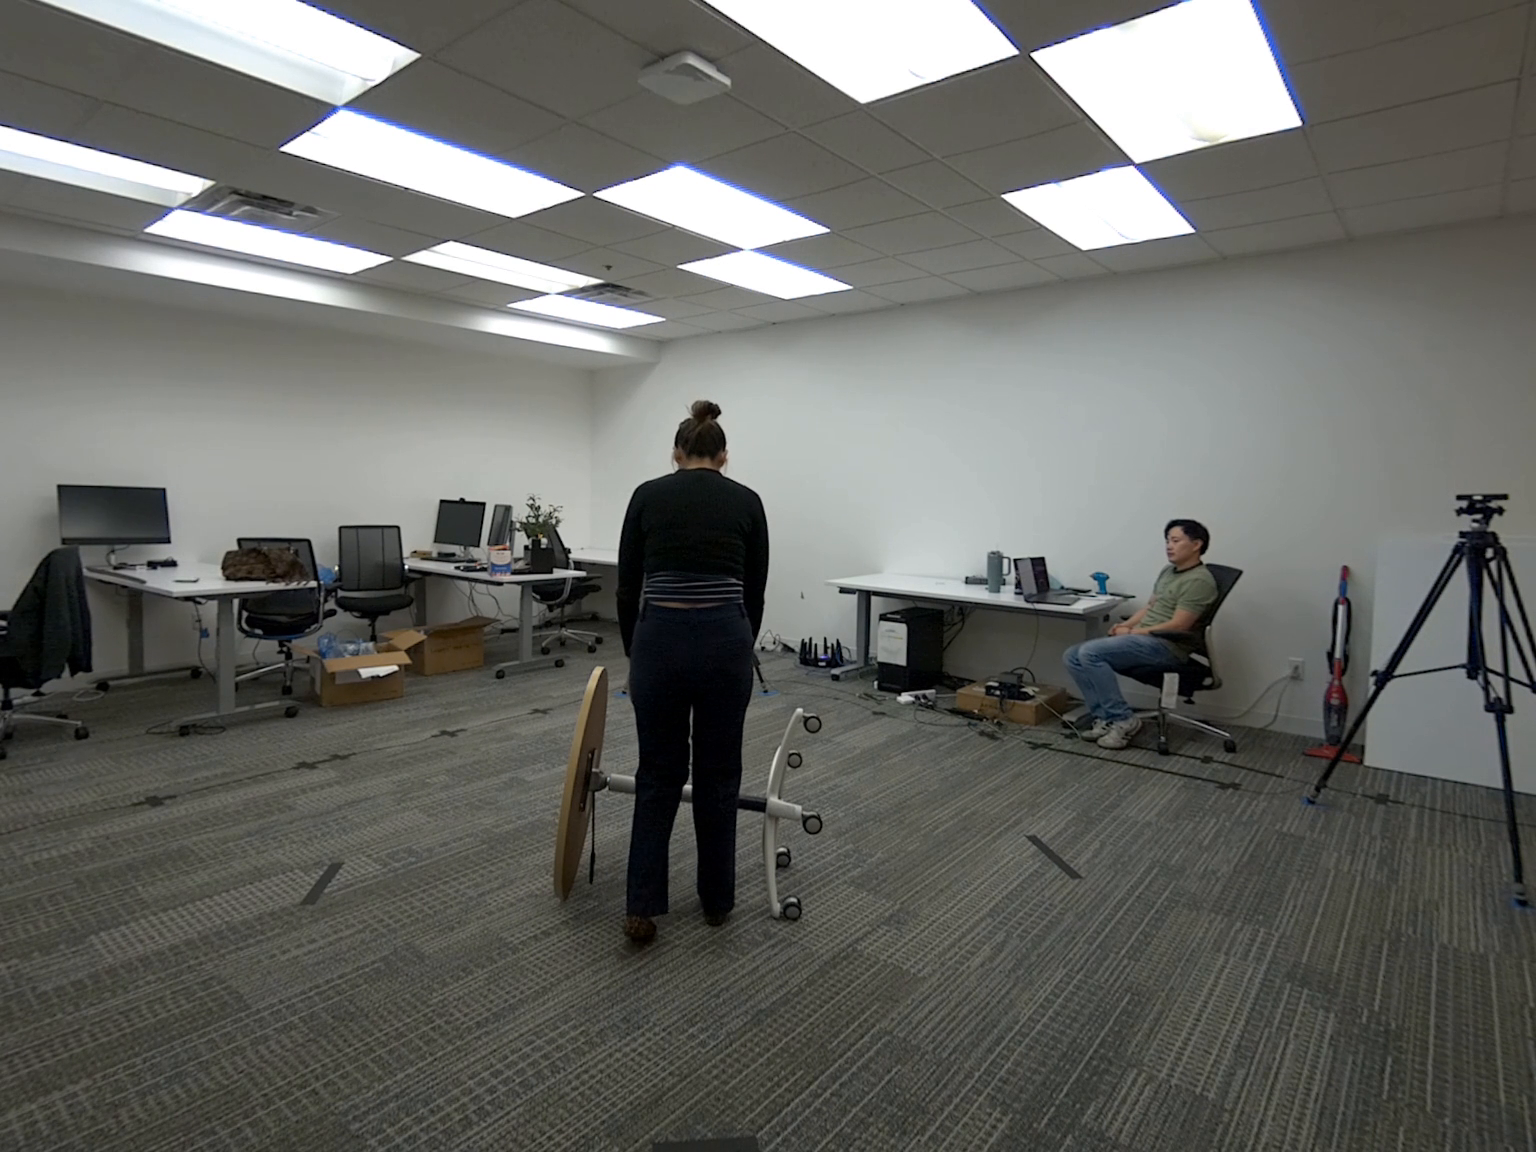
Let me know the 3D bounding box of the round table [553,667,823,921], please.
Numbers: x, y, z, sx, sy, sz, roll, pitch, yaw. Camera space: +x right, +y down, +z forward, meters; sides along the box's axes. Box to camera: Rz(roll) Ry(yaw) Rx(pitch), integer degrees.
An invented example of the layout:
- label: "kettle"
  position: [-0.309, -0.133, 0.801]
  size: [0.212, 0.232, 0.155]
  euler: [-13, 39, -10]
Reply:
- label: "round table"
  position: [-0.267, 0.754, 2.939]
  size: [0.793, 0.762, 0.768]
  euler: [8, 4, -2]
